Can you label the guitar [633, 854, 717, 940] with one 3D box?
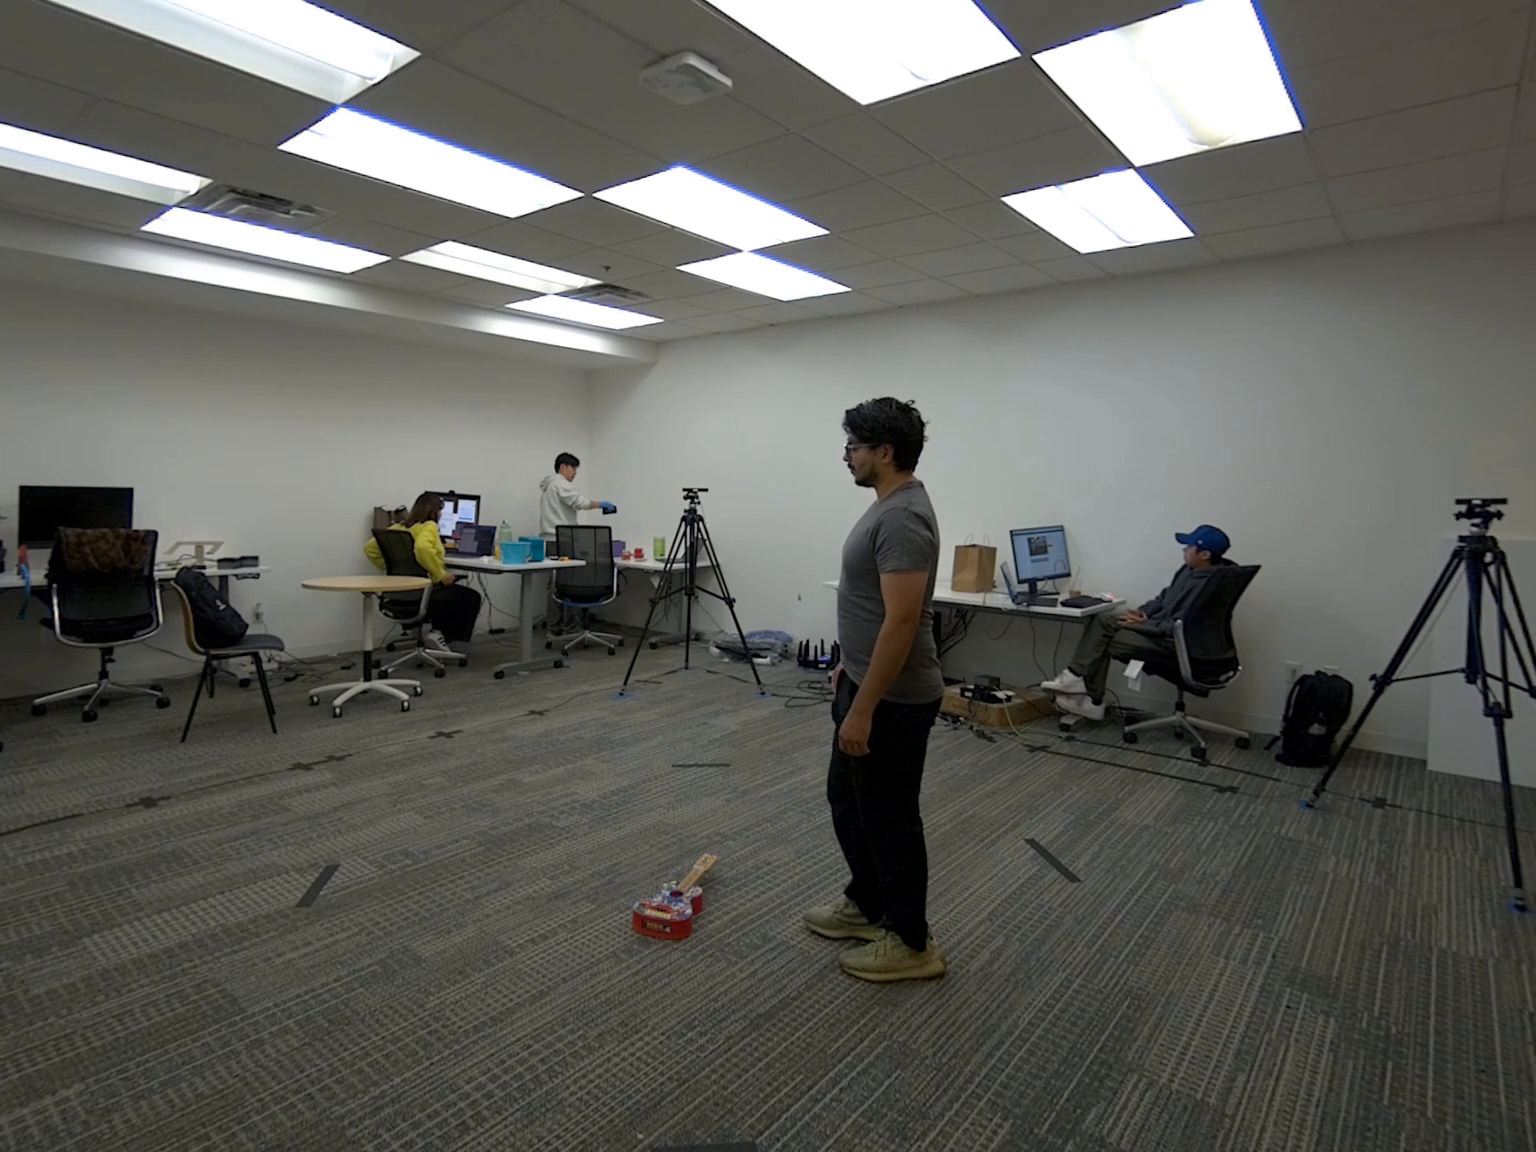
[{"bbox_3d":[-0.260,1.060,2.843,0.198,0.070,0.486,3,6,26],"label":"guitar"}]
